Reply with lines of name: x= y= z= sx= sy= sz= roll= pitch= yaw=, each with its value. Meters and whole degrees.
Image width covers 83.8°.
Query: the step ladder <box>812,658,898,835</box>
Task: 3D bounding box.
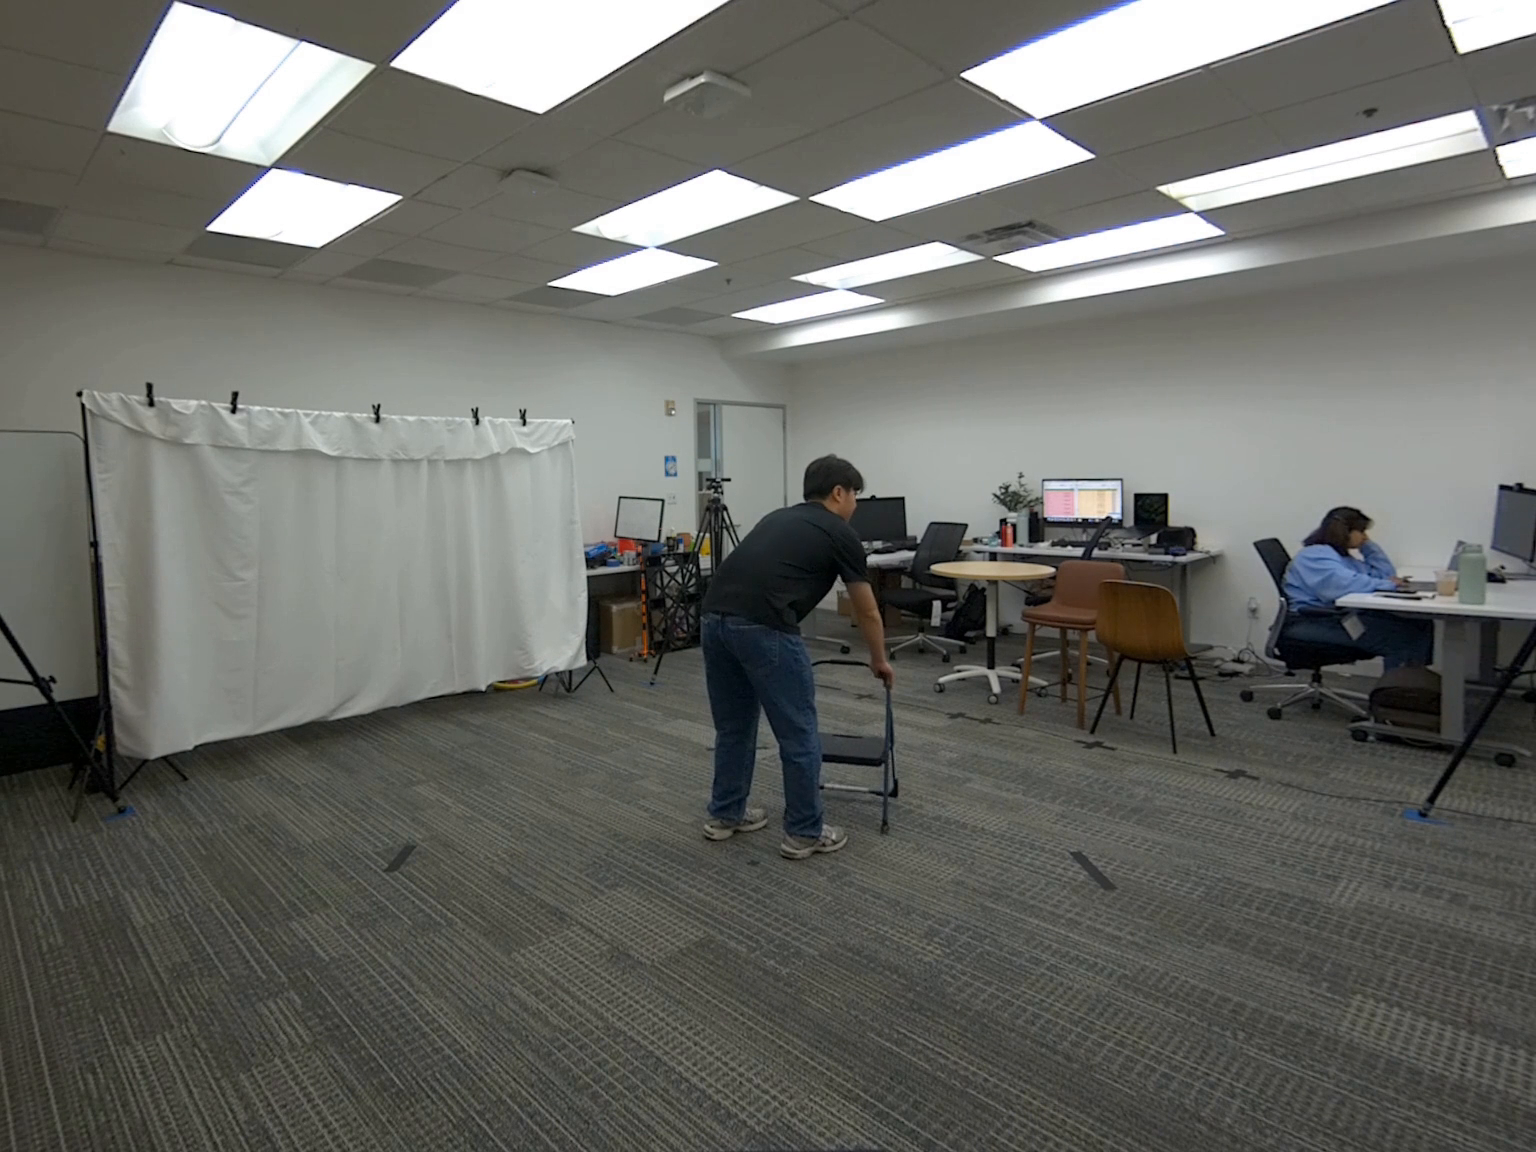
step ladder: x=0.312 y=0.660 z=3.530 sx=0.438 sy=0.602 sz=0.345 roll=1 pitch=7 yaw=18
